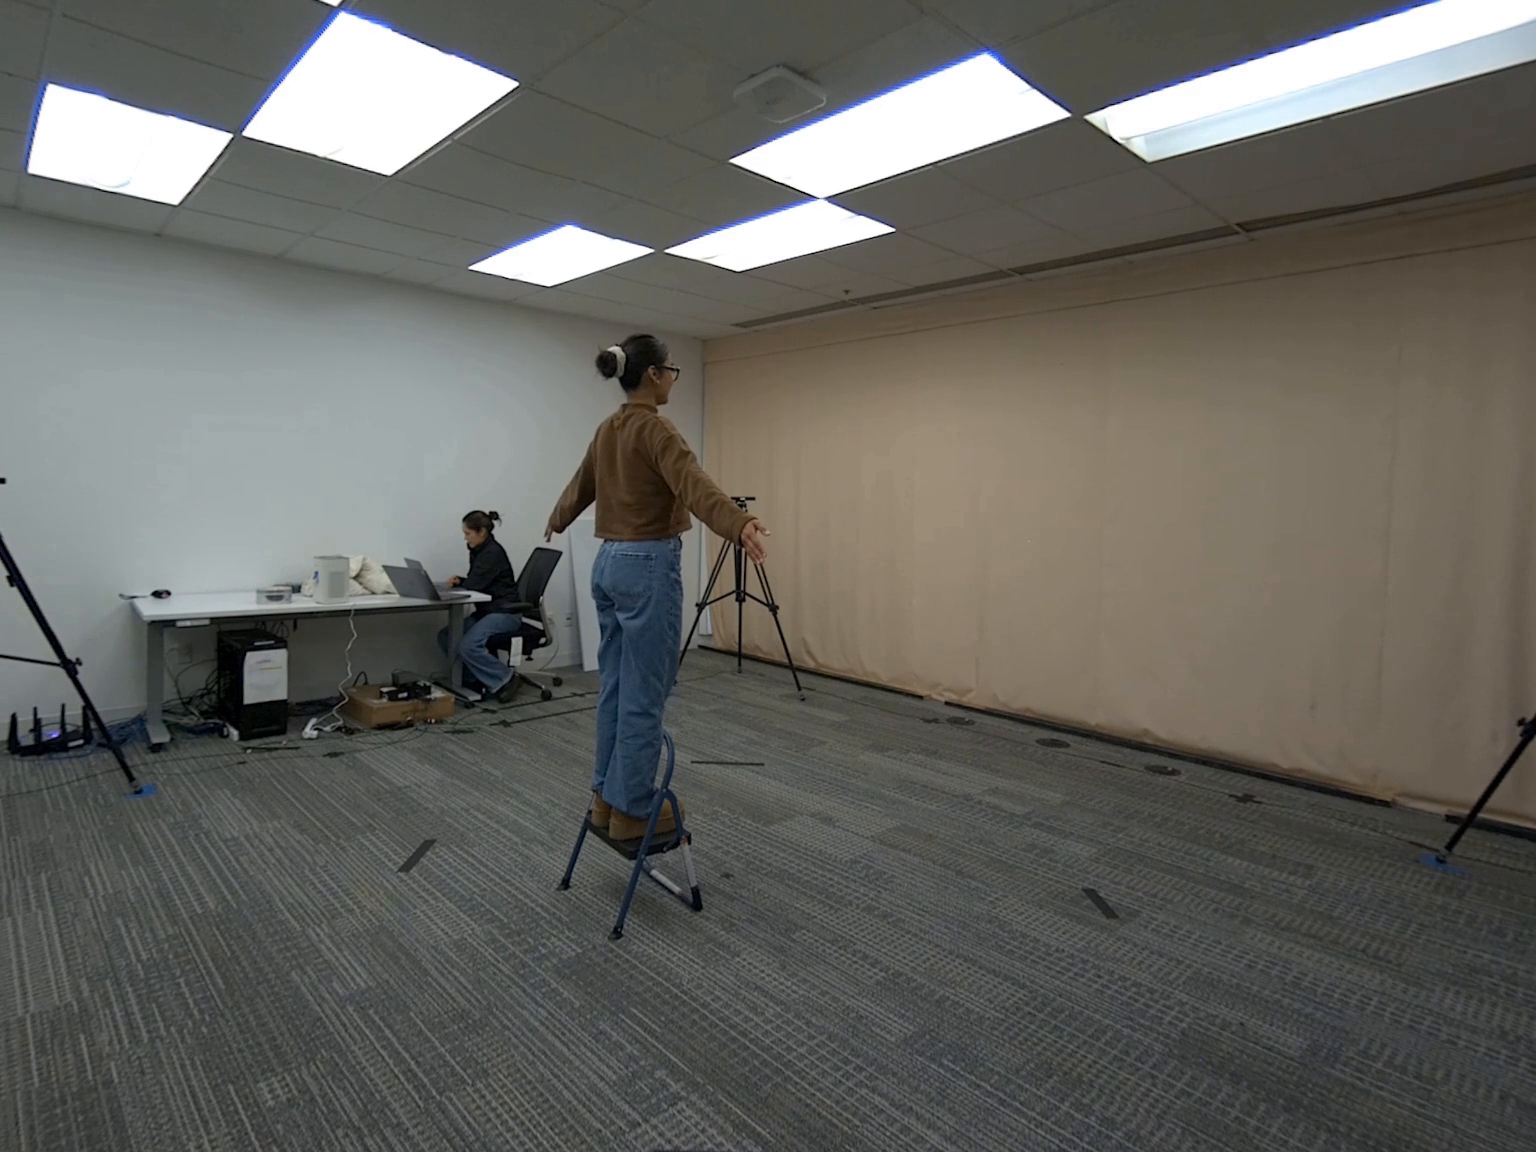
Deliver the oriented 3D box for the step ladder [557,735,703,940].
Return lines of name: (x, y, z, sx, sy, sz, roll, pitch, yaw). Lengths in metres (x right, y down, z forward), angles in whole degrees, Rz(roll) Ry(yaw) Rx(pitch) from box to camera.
step ladder: (-0.473, 0.820, 2.889, 0.341, 0.604, 0.441, -1, 4, -38)
